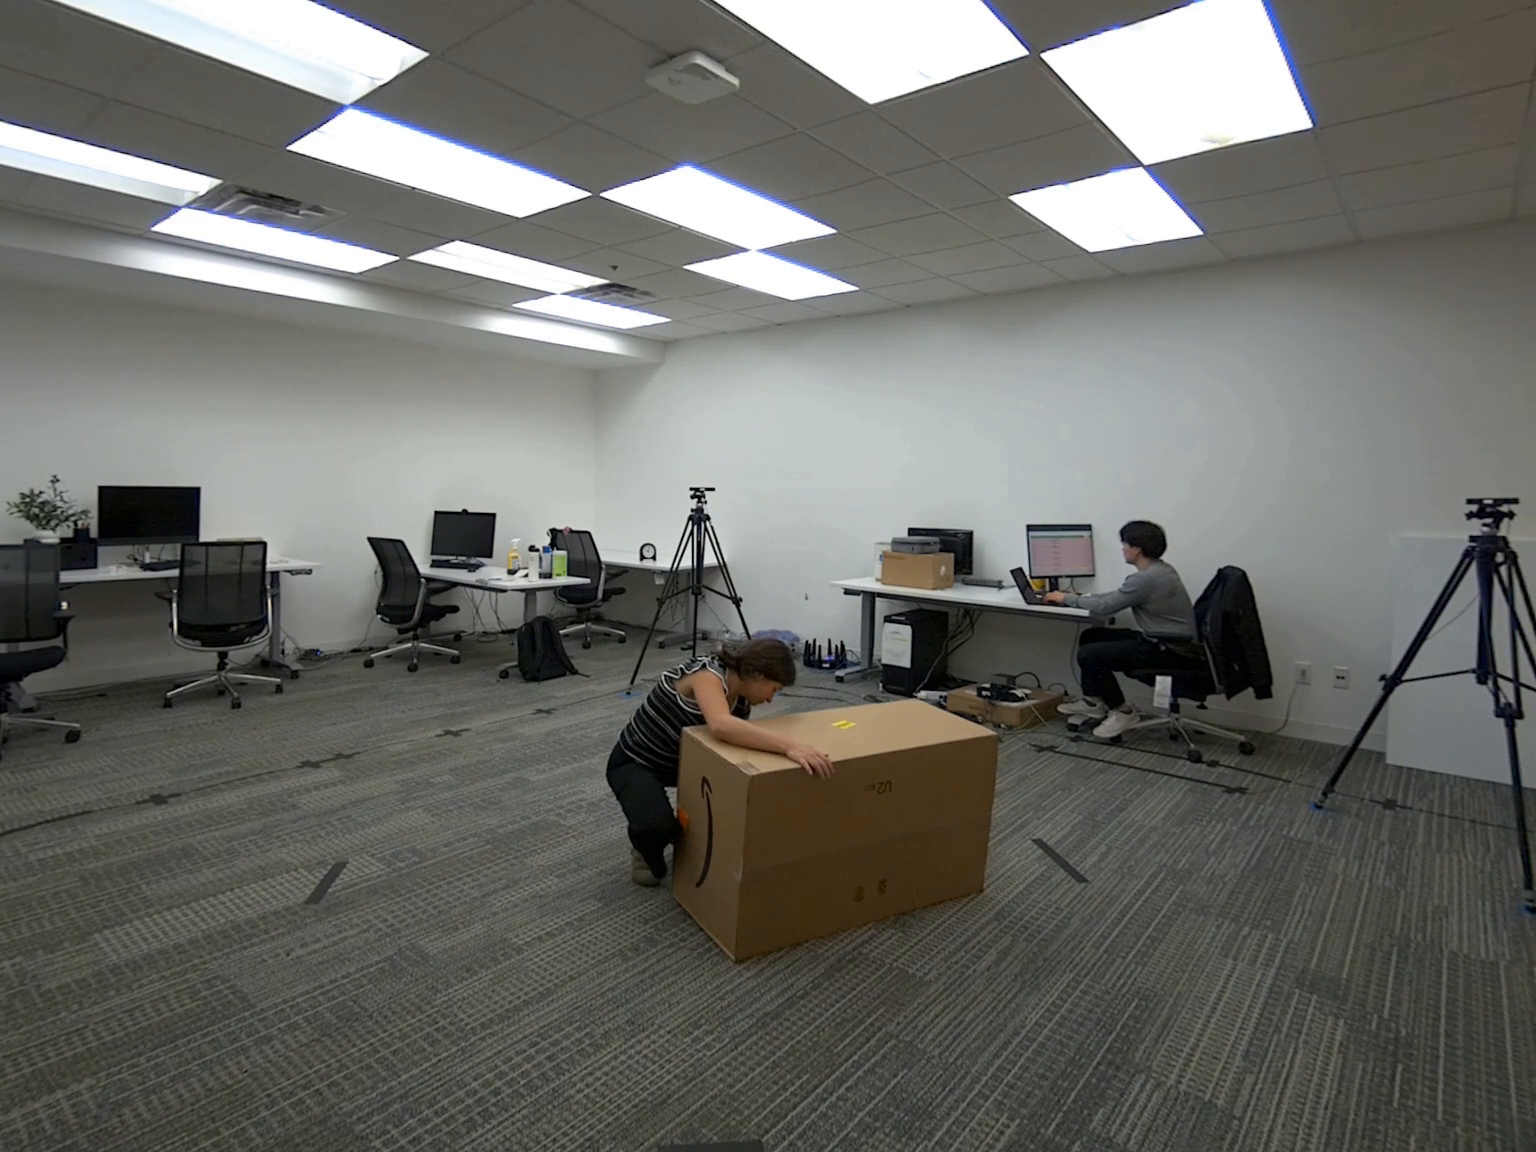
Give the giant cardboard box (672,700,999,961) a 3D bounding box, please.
[{"bbox_3d":[0.234,0.800,2.885,0.998,0.574,0.440,-2,8,-30],"label":"giant cardboard box"}]
